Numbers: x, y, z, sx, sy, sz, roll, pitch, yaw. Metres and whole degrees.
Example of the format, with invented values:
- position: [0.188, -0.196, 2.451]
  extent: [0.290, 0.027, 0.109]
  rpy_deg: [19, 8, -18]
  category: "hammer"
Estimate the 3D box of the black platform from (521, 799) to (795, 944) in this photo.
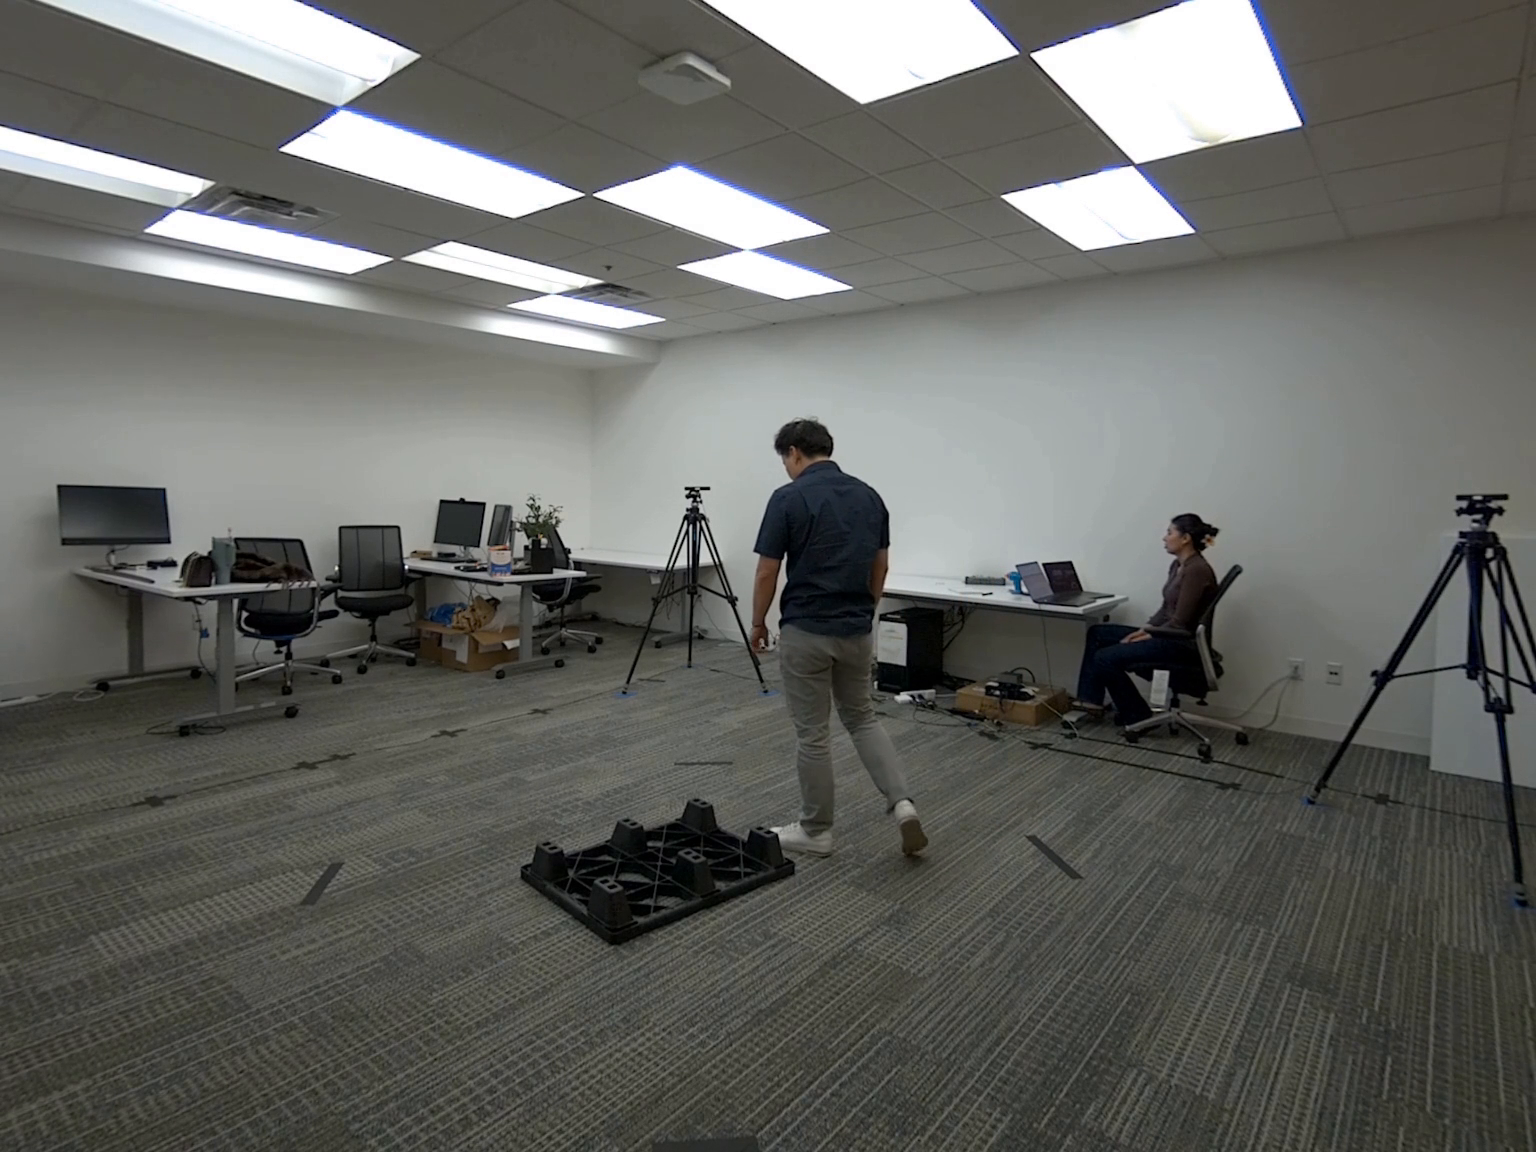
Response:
- position: [-0.397, 1.001, 3.048]
  extent: [0.781, 0.143, 0.626]
  rpy_deg: [-4, 8, -43]
  category: "black platform"
